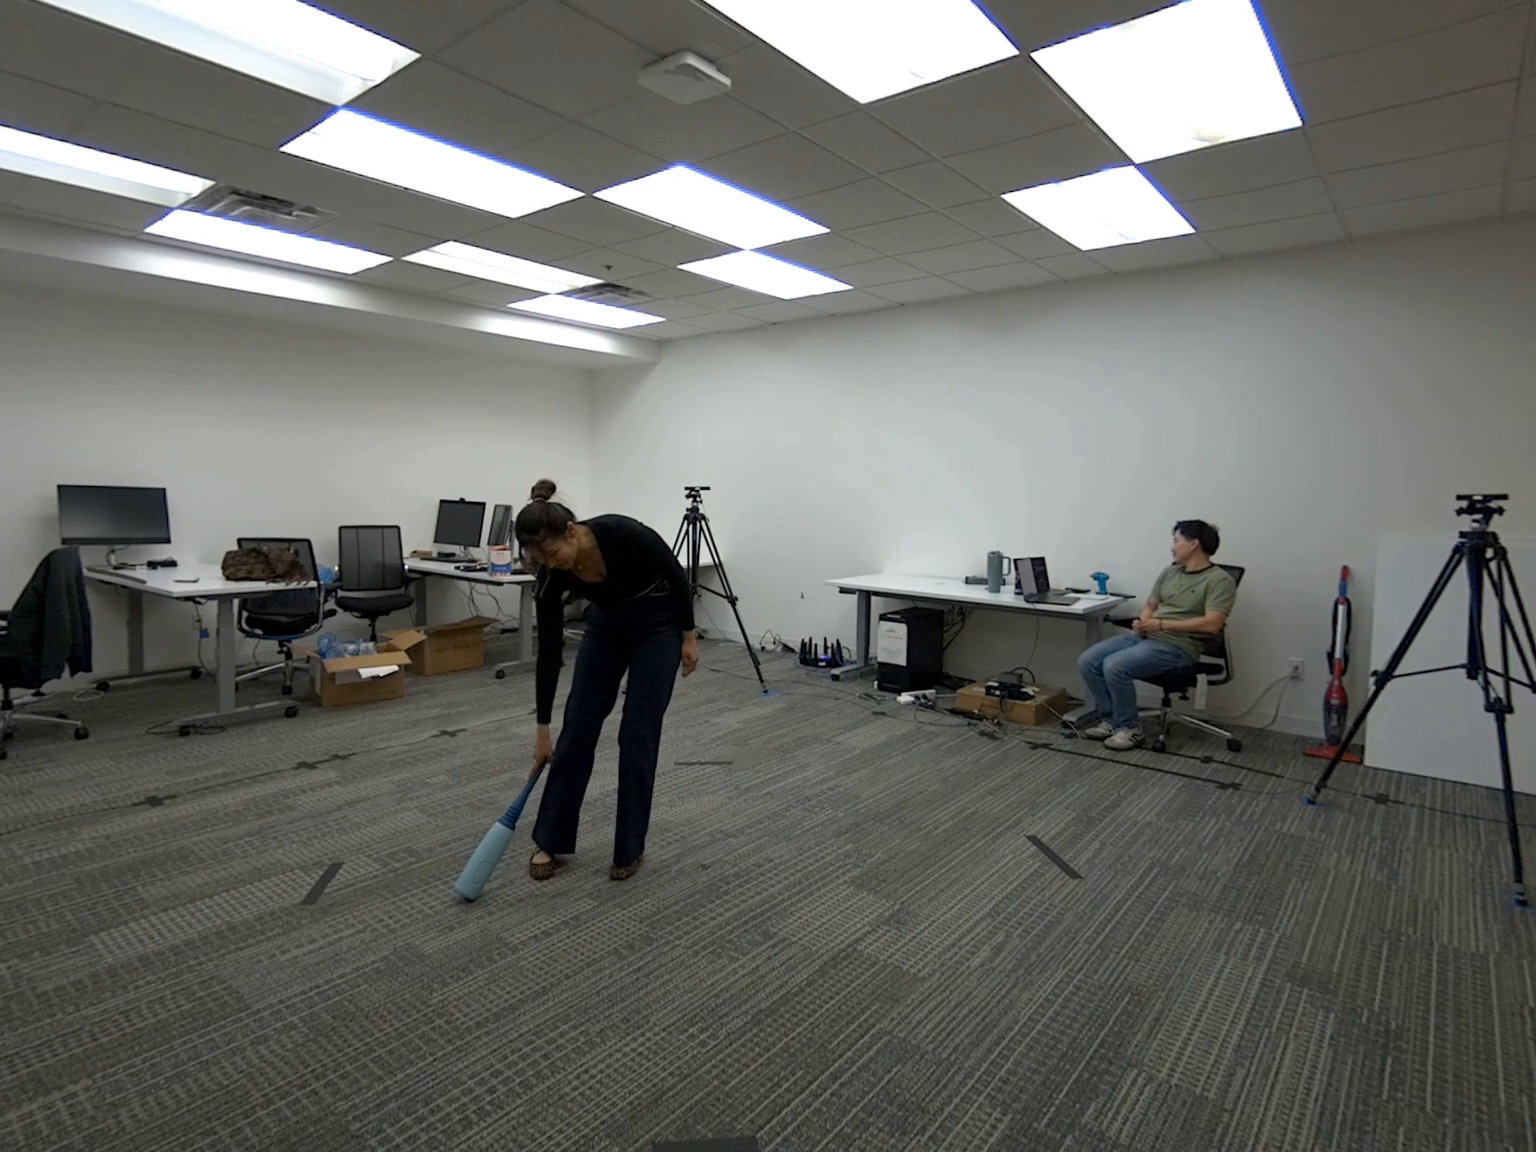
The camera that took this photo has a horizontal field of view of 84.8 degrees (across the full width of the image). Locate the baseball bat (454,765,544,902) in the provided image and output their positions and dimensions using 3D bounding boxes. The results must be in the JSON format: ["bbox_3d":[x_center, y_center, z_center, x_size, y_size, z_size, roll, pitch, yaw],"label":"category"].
[{"bbox_3d":[-0.907,0.846,2.930,0.090,0.546,0.087,26,-21,8],"label":"baseball bat"}]
